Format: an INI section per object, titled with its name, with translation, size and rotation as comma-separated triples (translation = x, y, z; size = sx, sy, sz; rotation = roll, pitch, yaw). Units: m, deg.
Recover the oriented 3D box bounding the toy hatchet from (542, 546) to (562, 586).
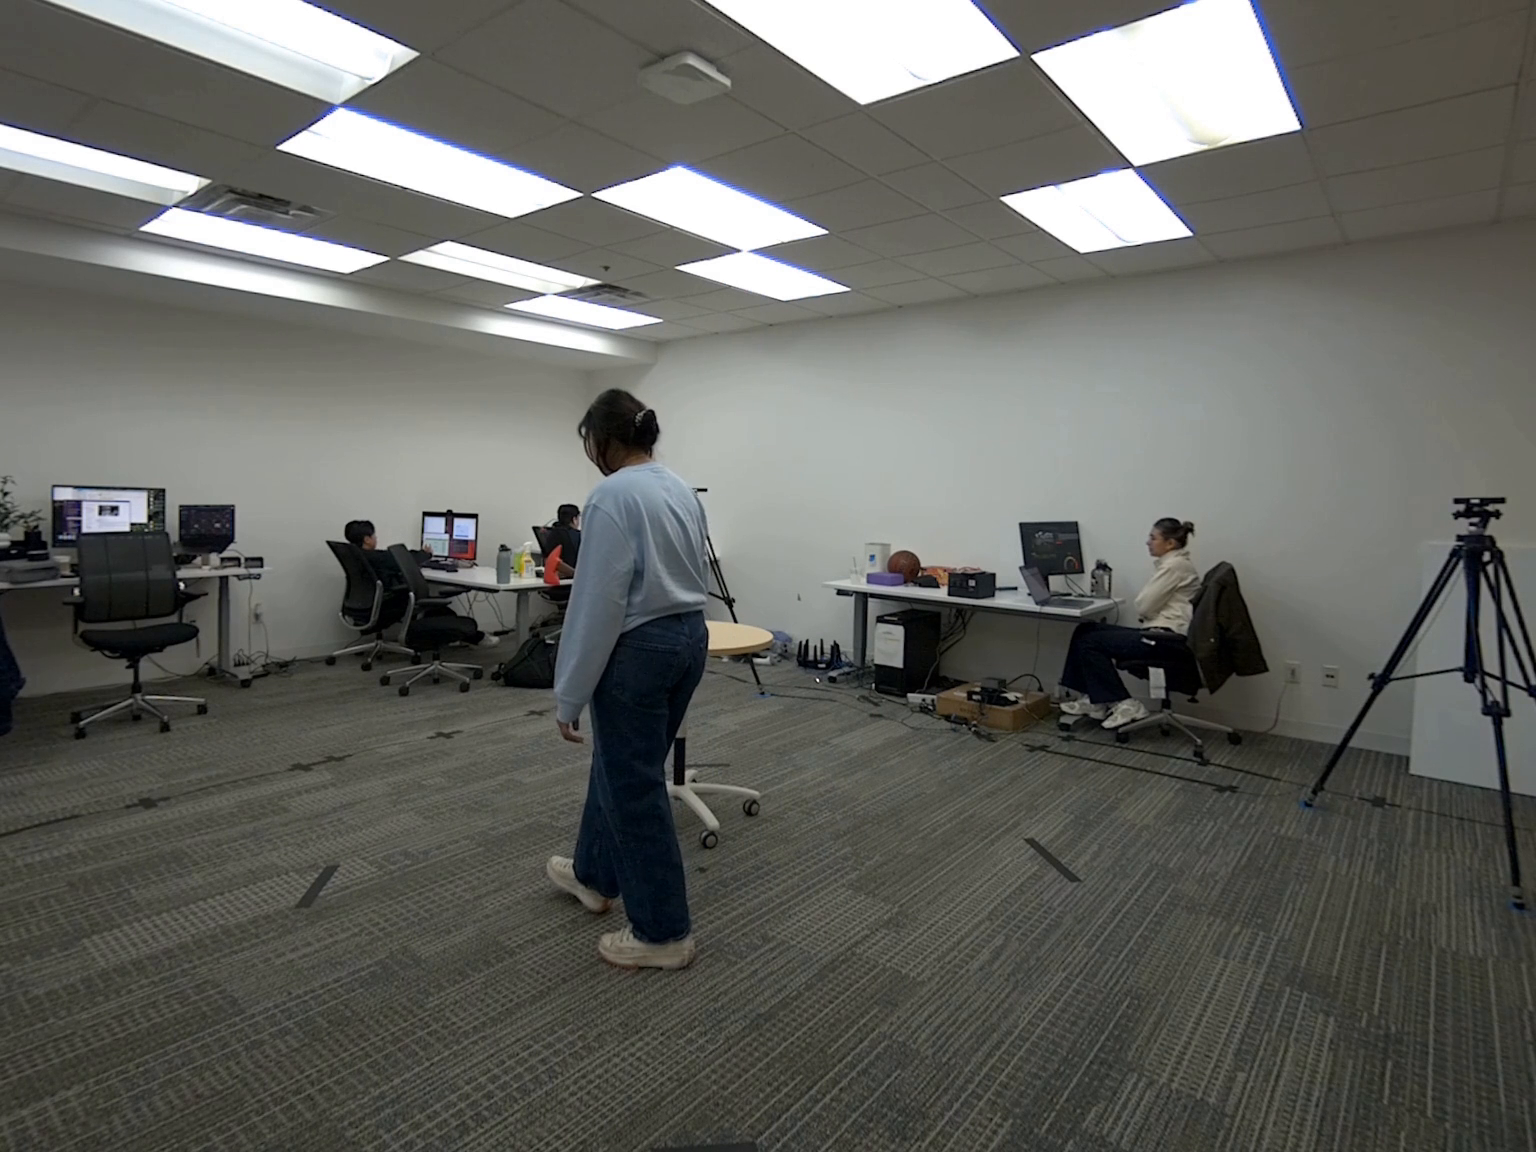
[toy hatchet]
translation = -0.632, 0.025, 2.779
size = 0.276, 0.131, 0.029
rotation = 41, 4, 16
